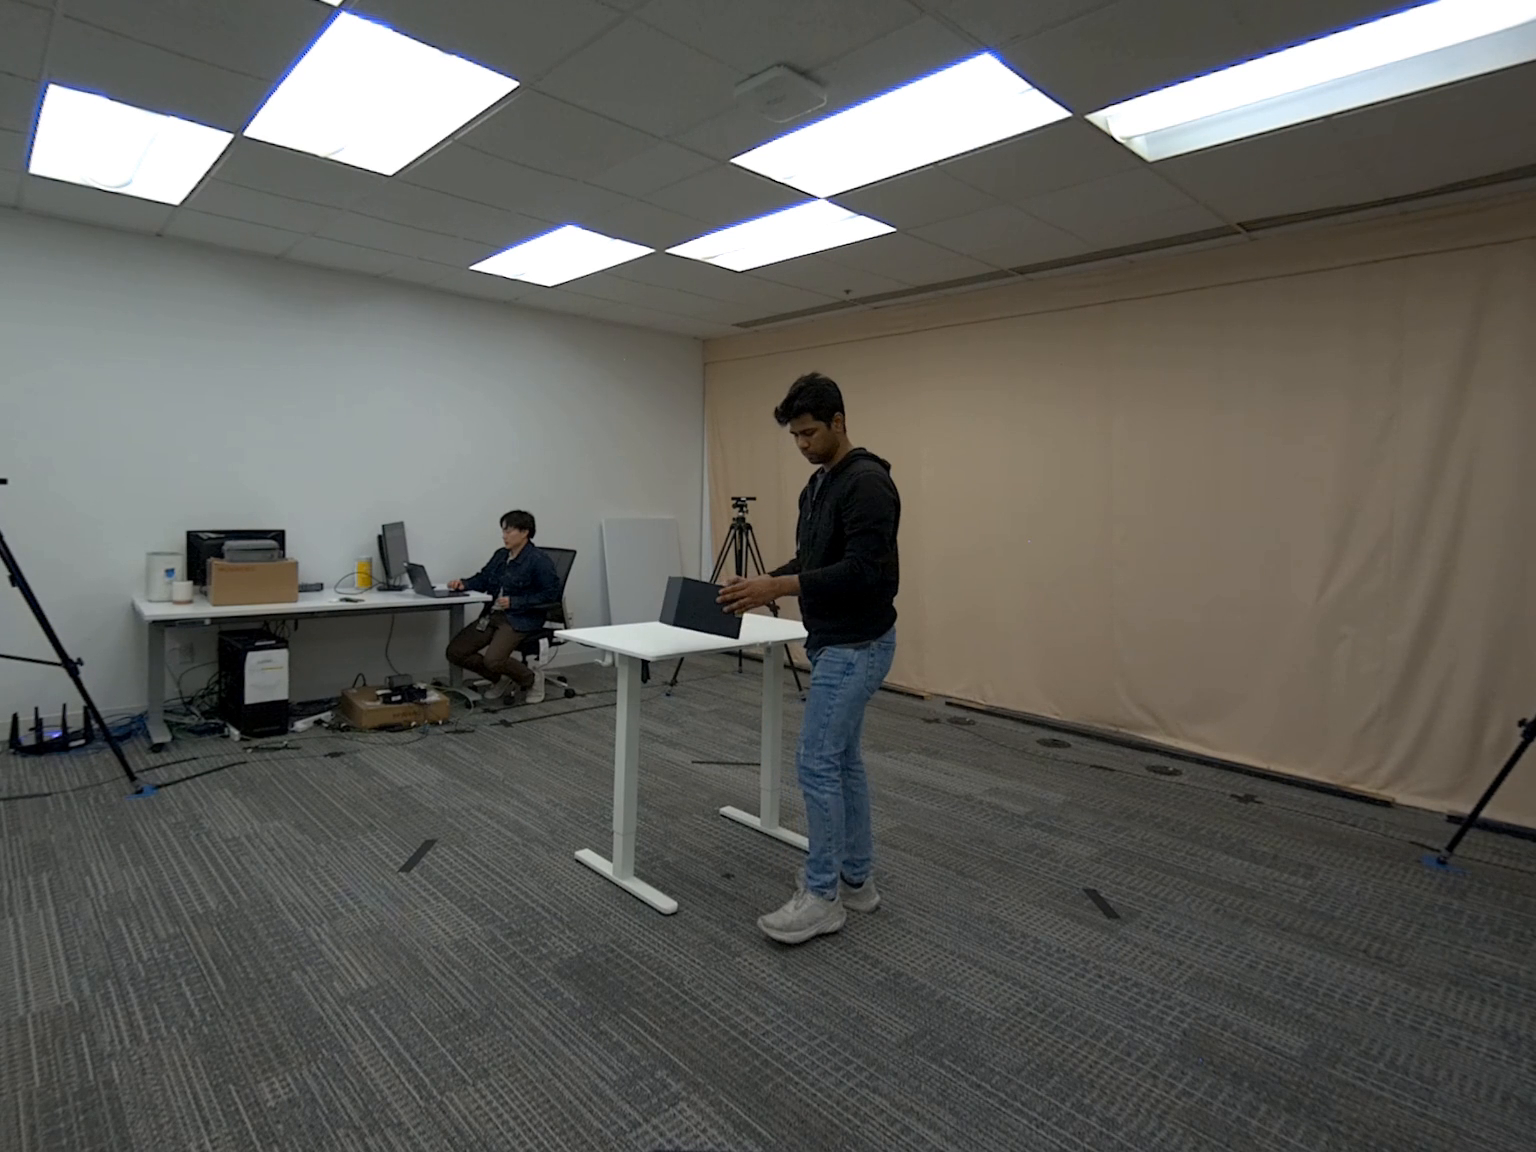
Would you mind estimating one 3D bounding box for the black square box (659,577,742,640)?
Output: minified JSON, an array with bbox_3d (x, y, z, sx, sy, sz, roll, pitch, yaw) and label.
[{"bbox_3d":[-0.206,0.106,2.689,0.214,0.156,0.230,12,-4,-16],"label":"black square box"}]
